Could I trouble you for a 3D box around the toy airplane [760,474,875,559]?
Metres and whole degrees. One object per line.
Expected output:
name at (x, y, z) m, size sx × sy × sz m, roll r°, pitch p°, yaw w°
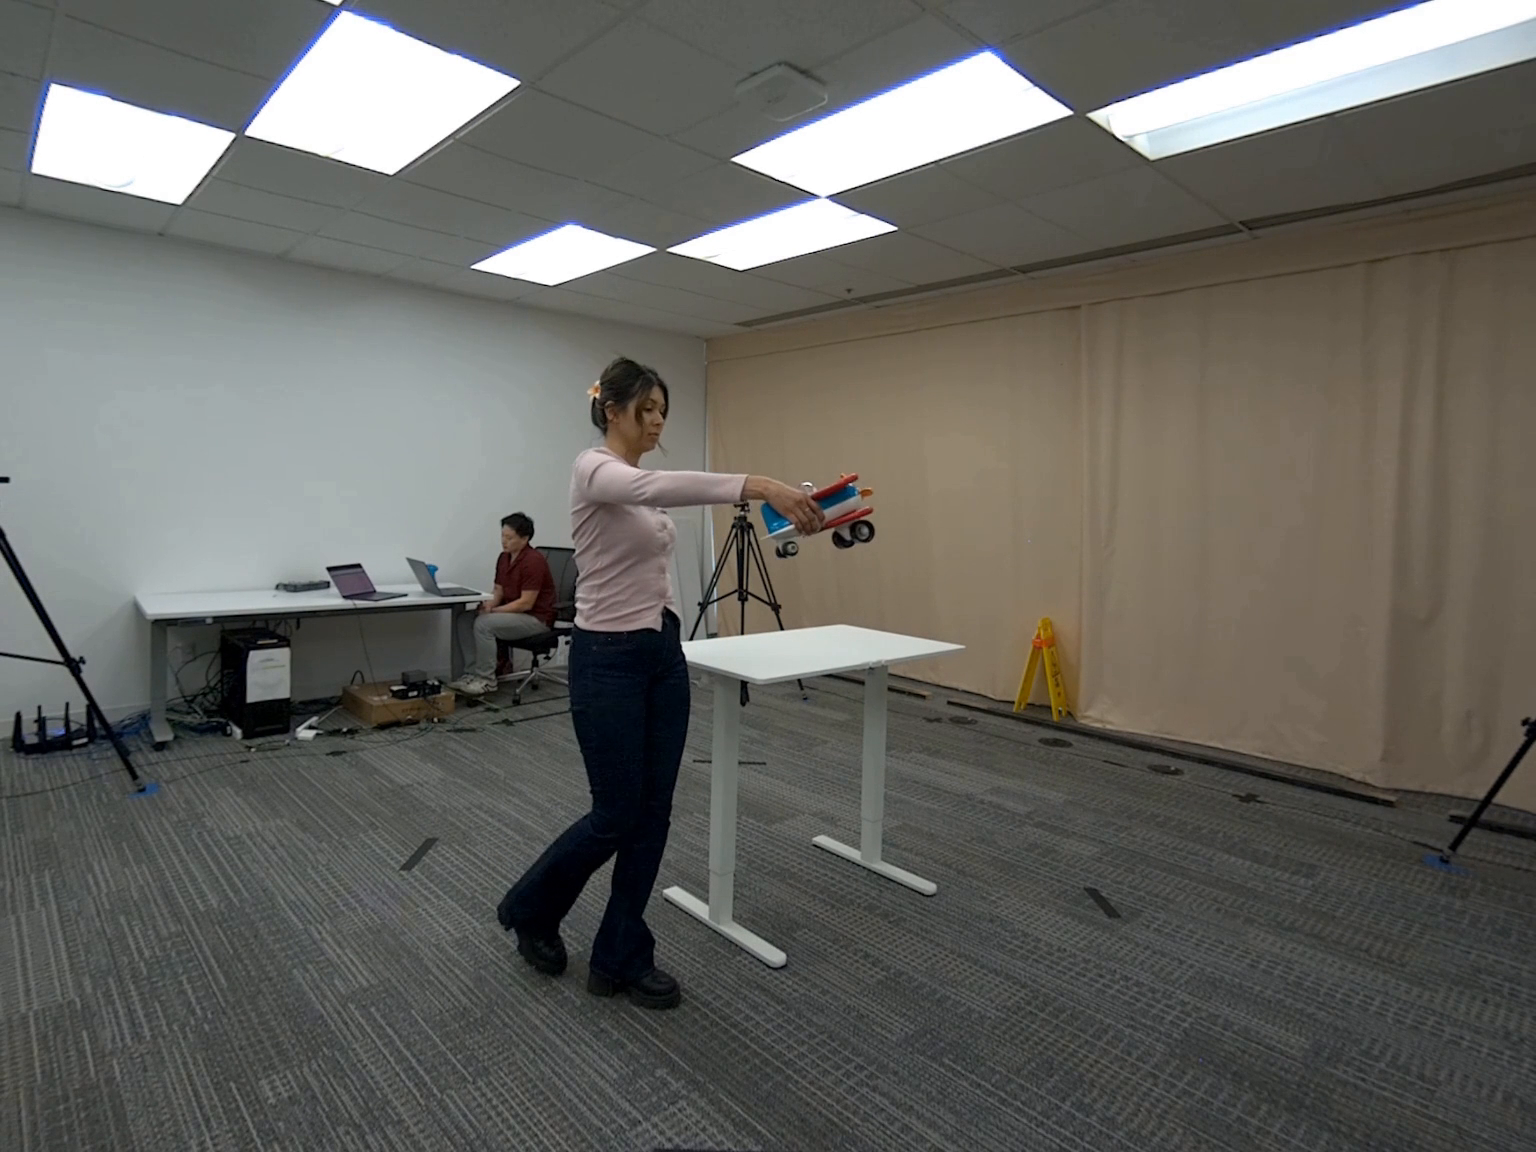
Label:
toy airplane at (0.105, -0.133, 1.895) m, size 0.255 × 0.157 × 0.254 m, roll -16°, pitch -5°, yaw 39°
